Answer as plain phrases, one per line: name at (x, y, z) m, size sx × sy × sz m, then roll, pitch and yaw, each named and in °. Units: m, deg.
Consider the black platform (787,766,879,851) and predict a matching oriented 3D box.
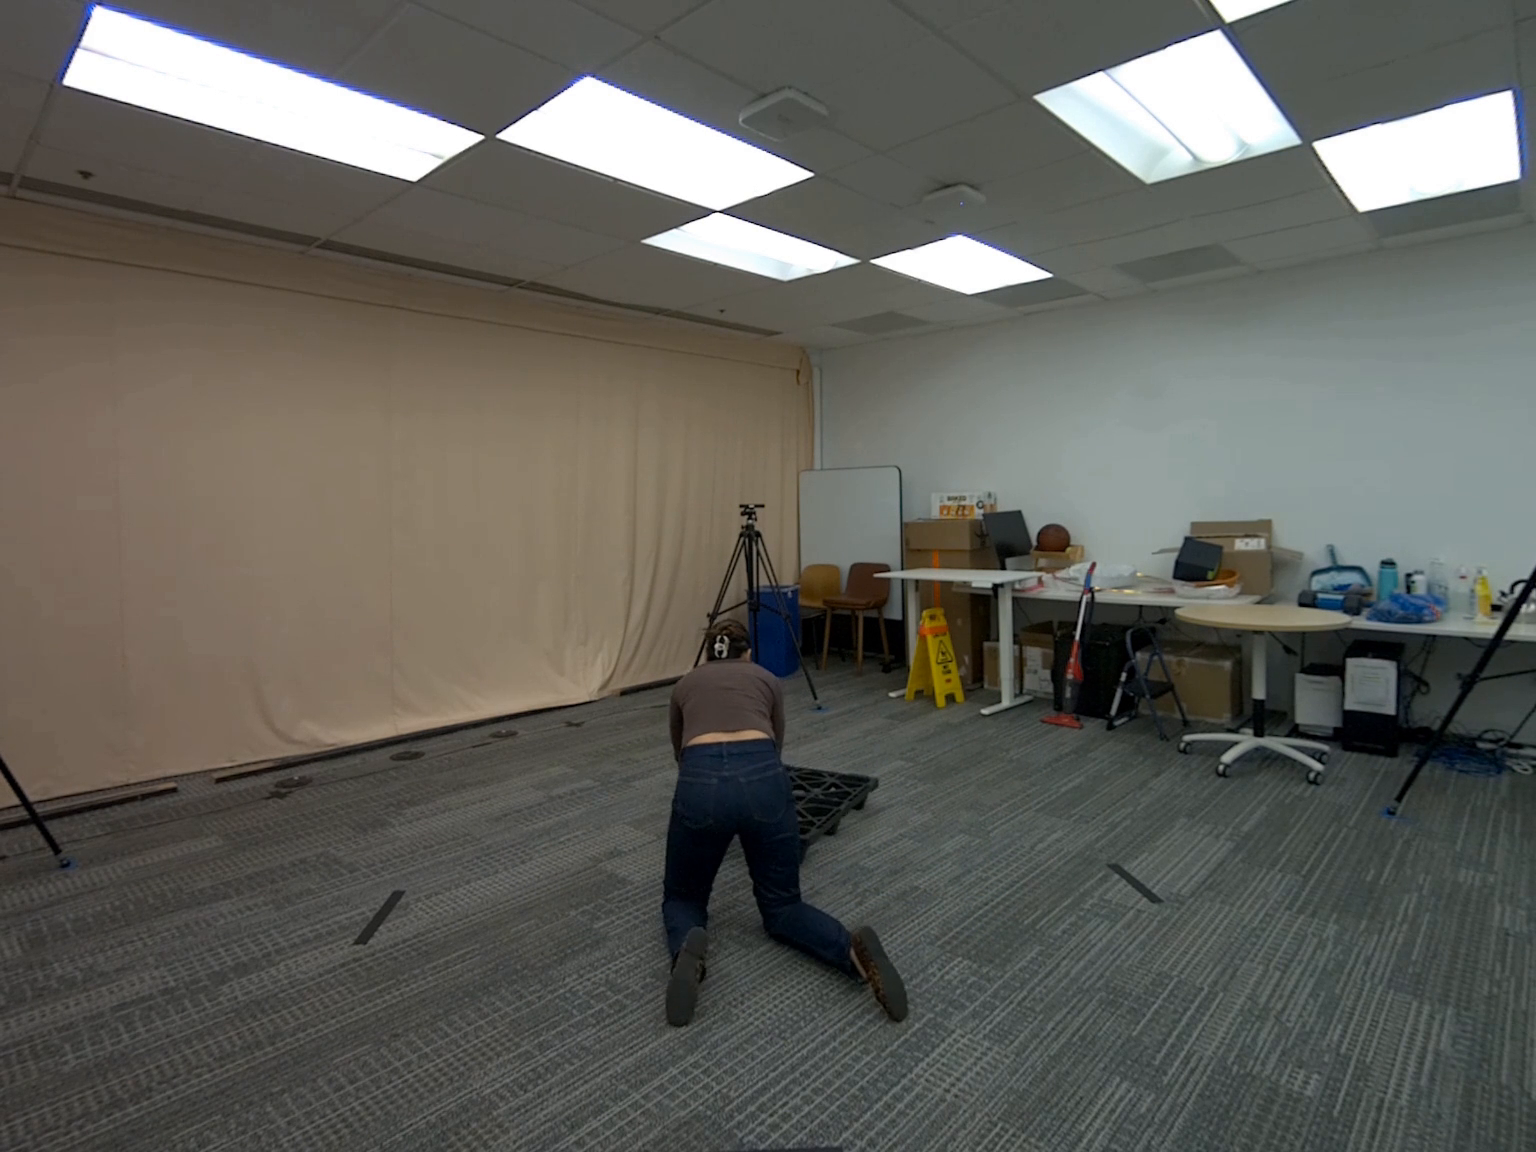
black platform at (0.066, 1.014, 3.658) m, size 0.622 × 0.143 × 0.785 m, roll 1°, pitch 5°, yaw 28°
